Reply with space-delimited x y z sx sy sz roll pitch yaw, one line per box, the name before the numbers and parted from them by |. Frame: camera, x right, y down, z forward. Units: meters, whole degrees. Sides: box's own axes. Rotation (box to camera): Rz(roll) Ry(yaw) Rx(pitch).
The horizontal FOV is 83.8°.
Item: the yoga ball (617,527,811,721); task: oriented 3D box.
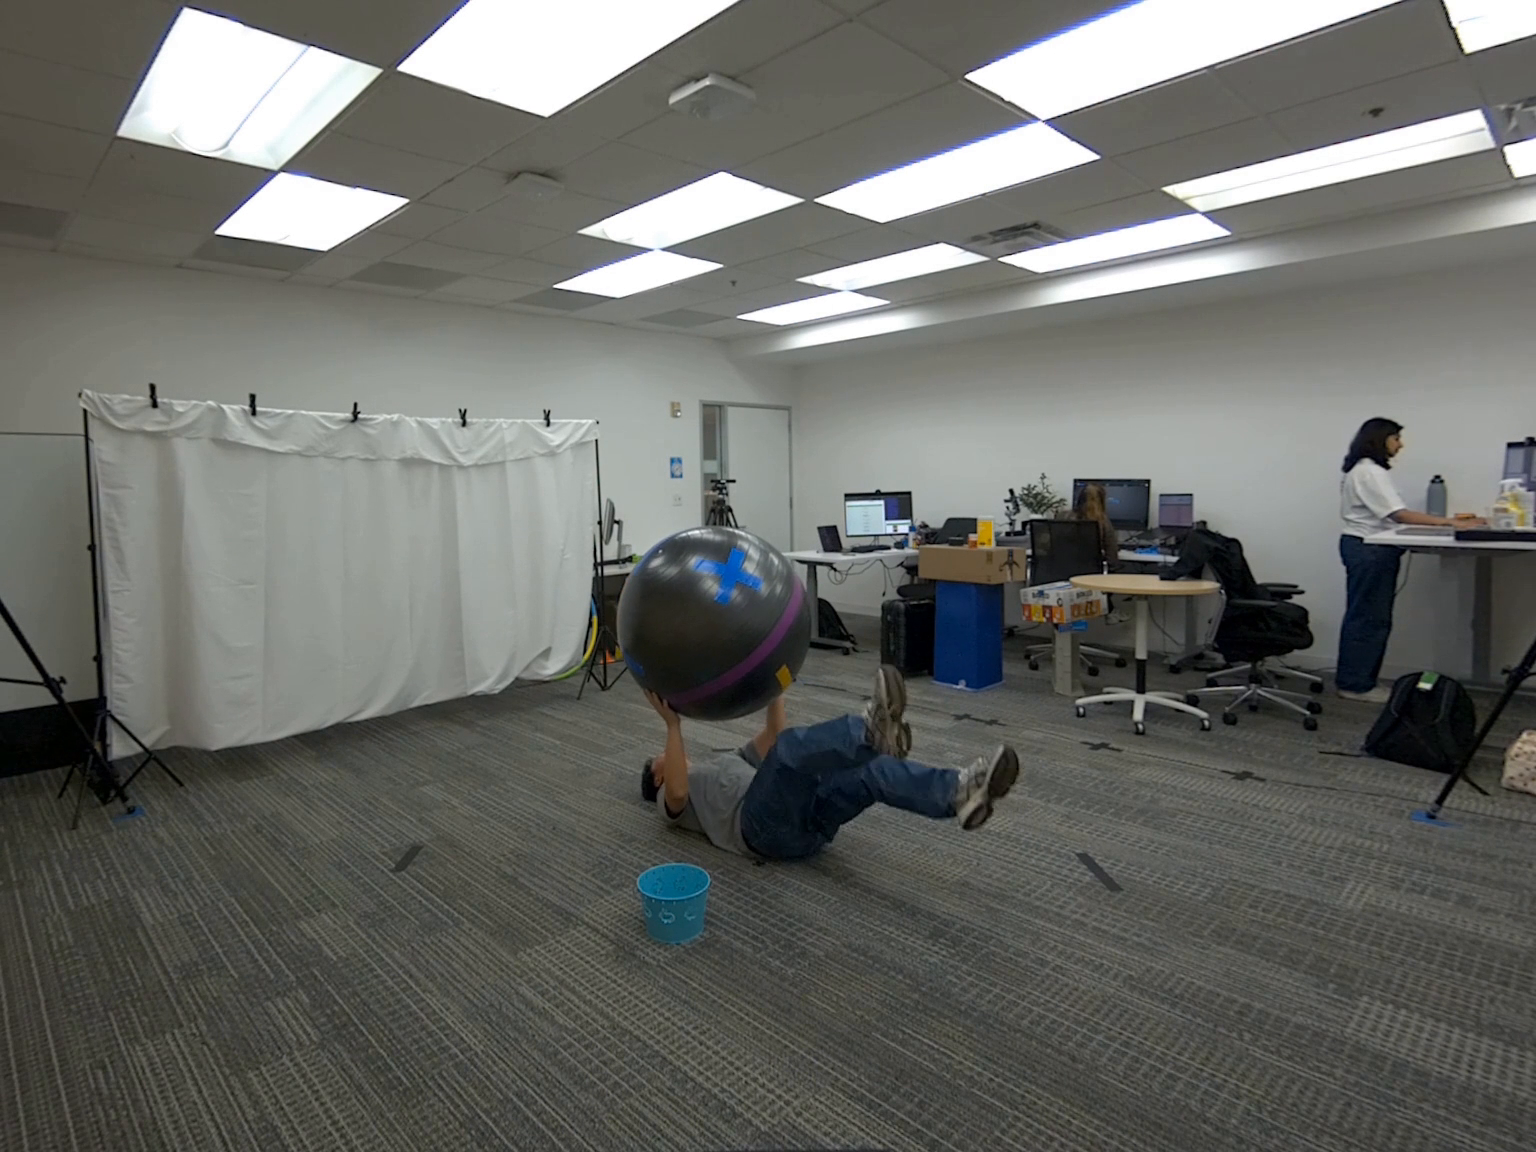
yoga ball | -0.212 0.190 3.350 0.757 0.755 0.762 -1 5 -2
